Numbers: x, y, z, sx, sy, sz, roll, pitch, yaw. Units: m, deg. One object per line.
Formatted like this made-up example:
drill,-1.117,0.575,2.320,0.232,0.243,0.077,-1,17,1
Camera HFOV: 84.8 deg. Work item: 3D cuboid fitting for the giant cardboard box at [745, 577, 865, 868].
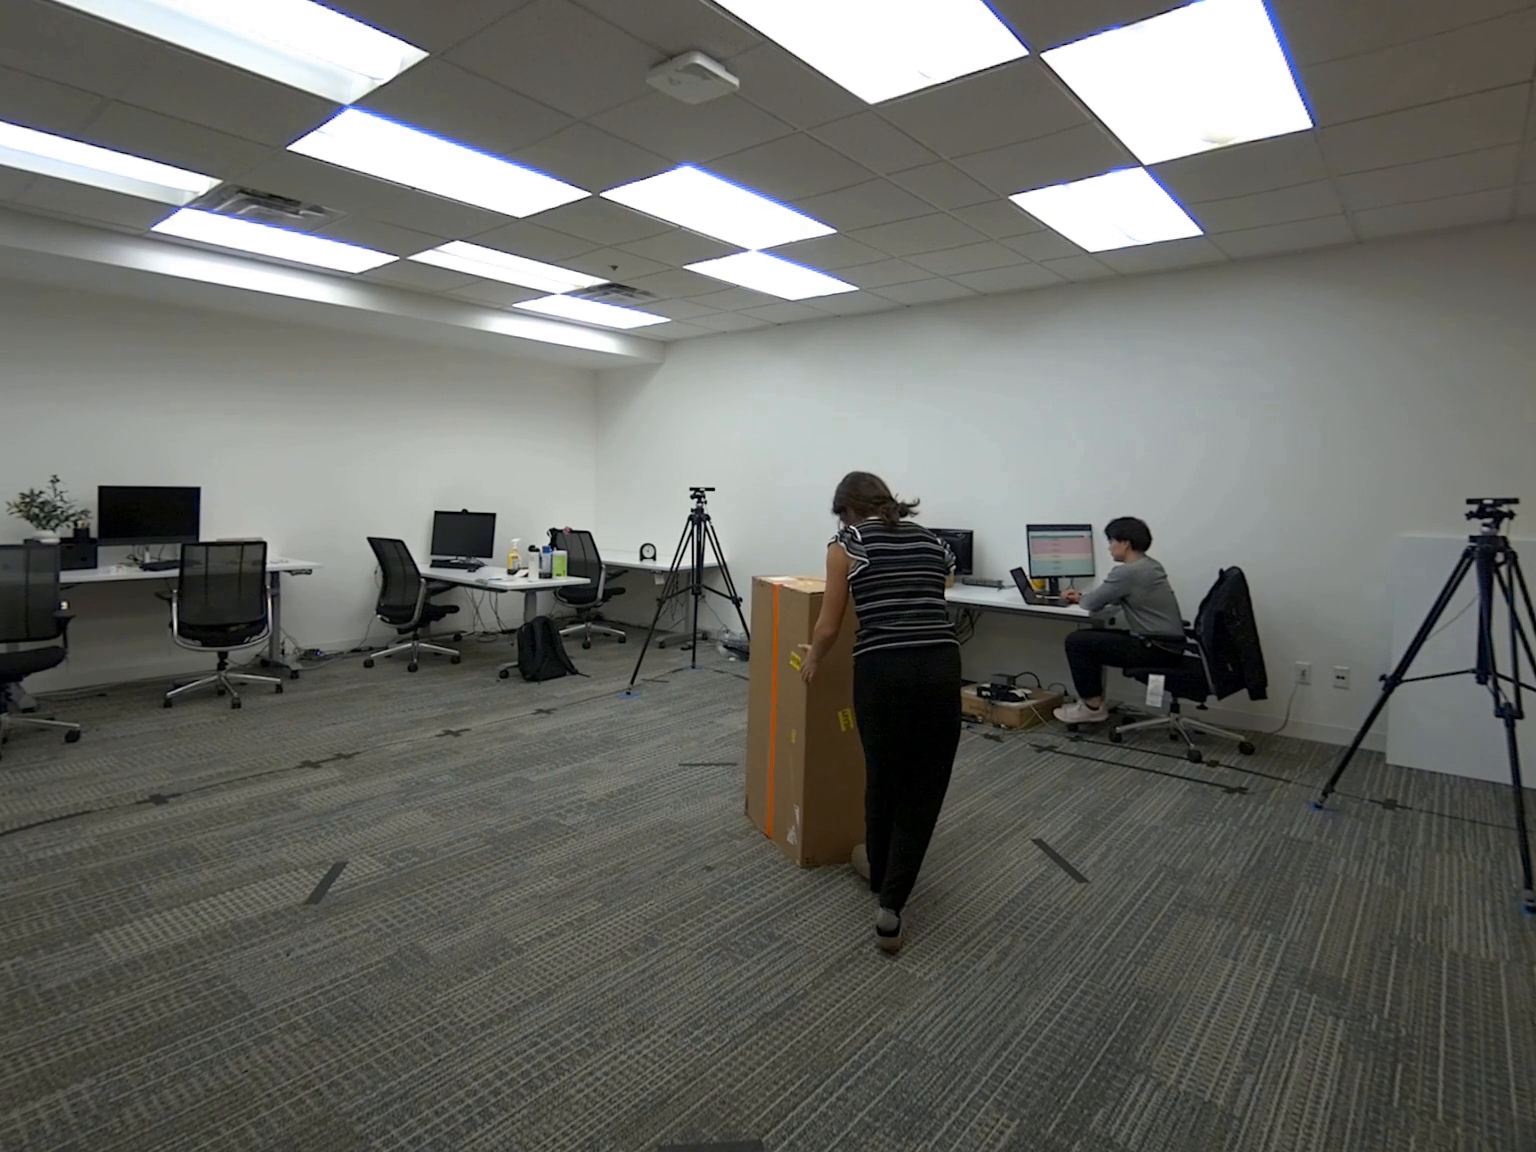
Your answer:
giant cardboard box,0.202,0.534,3.431,0.417,1.023,0.592,0,4,-23
